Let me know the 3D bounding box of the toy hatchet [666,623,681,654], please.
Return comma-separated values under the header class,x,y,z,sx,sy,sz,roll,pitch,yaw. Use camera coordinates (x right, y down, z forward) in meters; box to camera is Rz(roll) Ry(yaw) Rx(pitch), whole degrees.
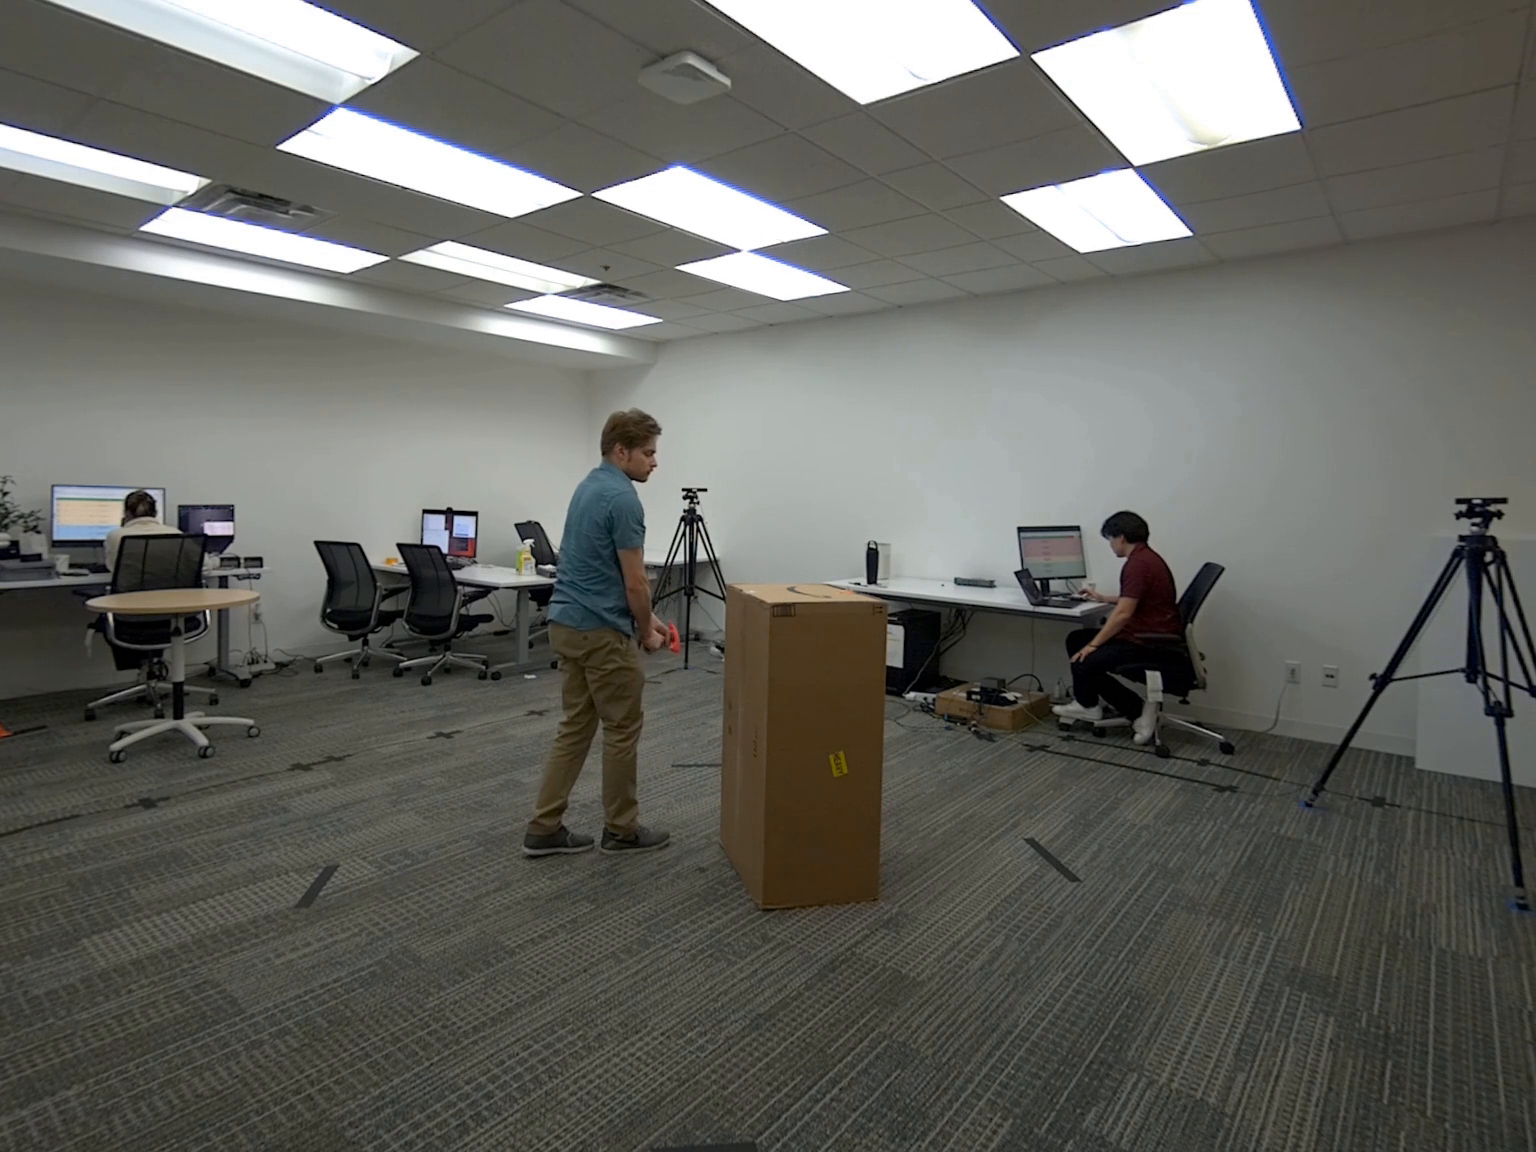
class,x,y,z,sx,sy,sz,roll,pitch,yaw
toy hatchet,-0.430,0.287,3.400,0.030,0.129,0.270,-21,15,24
